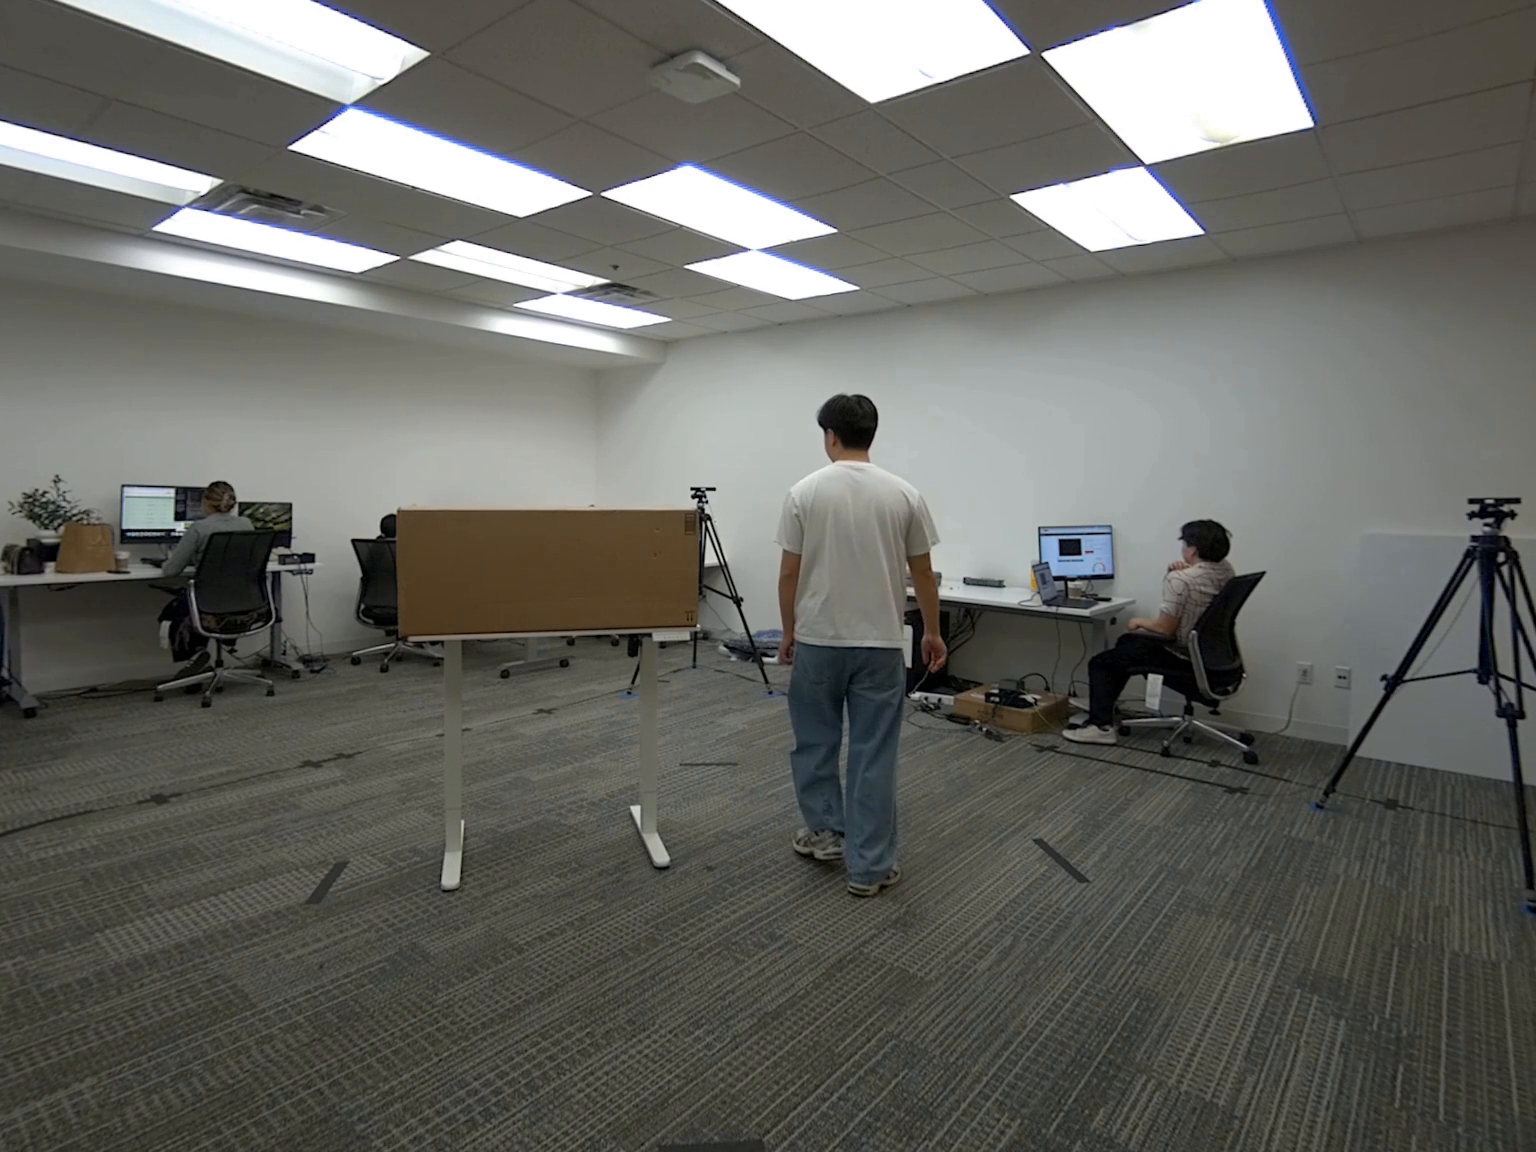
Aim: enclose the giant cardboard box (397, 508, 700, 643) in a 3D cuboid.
[{"bbox_3d":[-0.834,-0.047,3.200,1.010,0.424,0.589,-1,6,-15],"label":"giant cardboard box"}]
